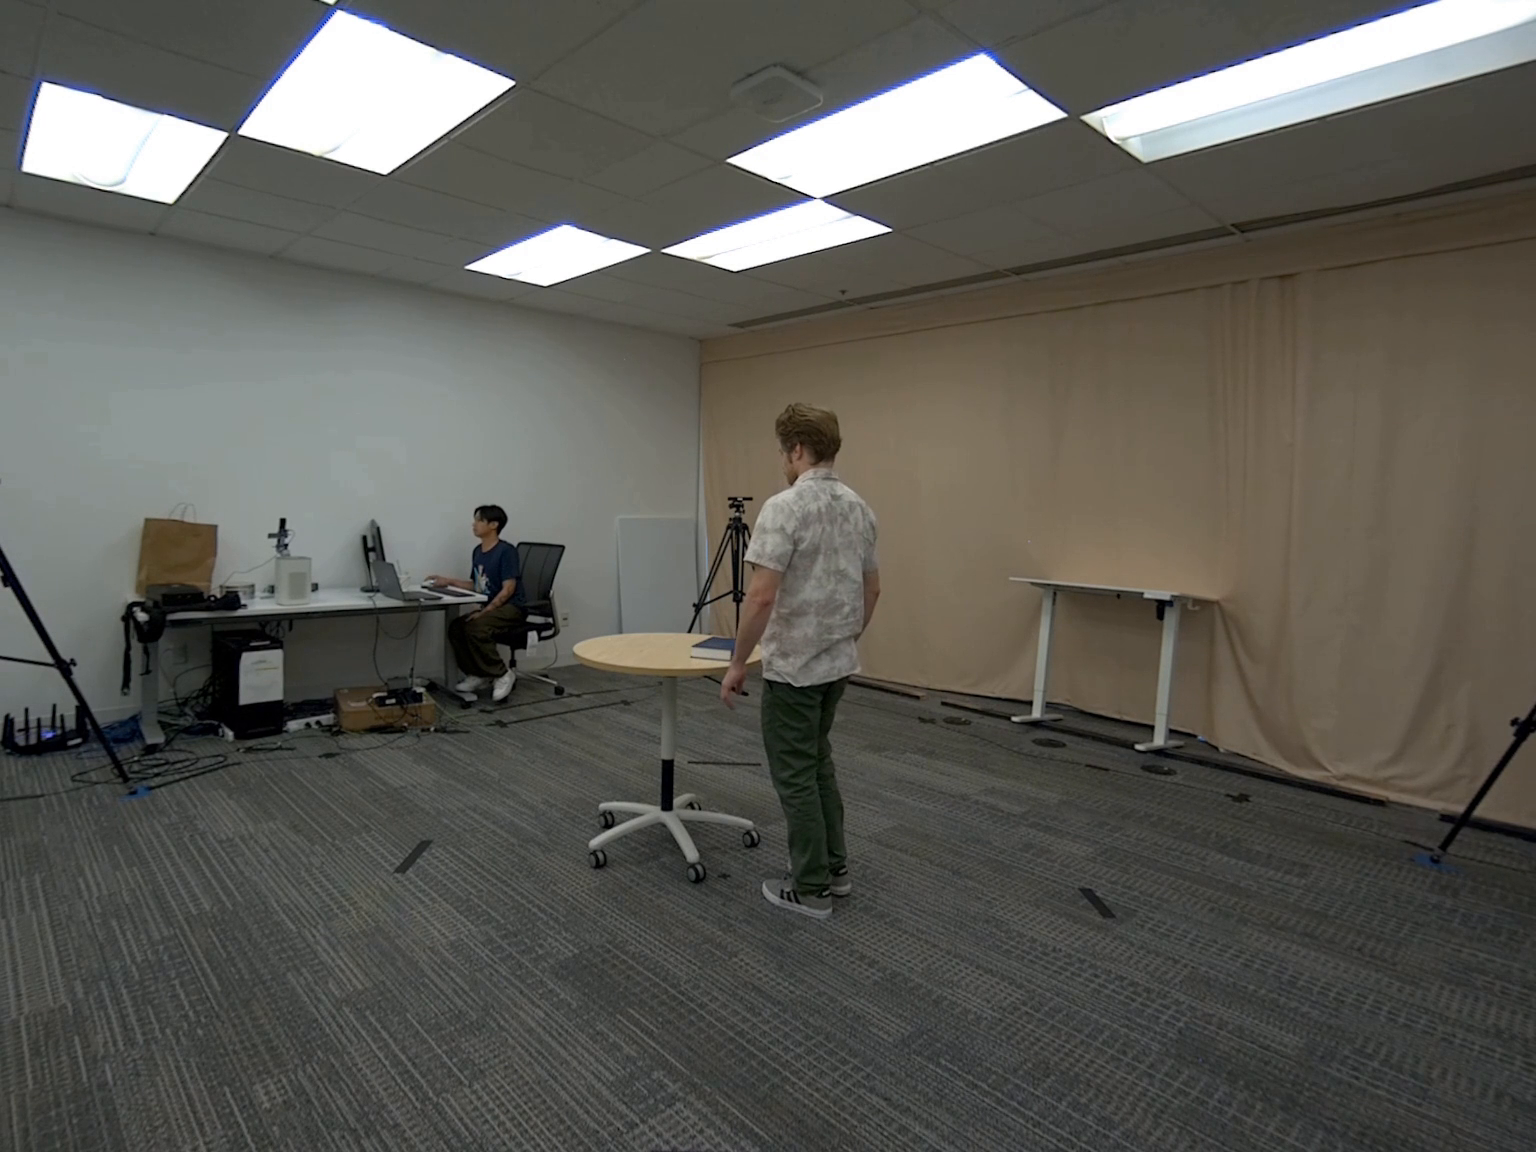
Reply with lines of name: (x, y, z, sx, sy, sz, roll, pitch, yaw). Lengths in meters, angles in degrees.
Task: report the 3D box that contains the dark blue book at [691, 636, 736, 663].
dark blue book: (-0.188, 0.282, 3.269, 0.166, 0.045, 0.242, 3, 6, 16)
